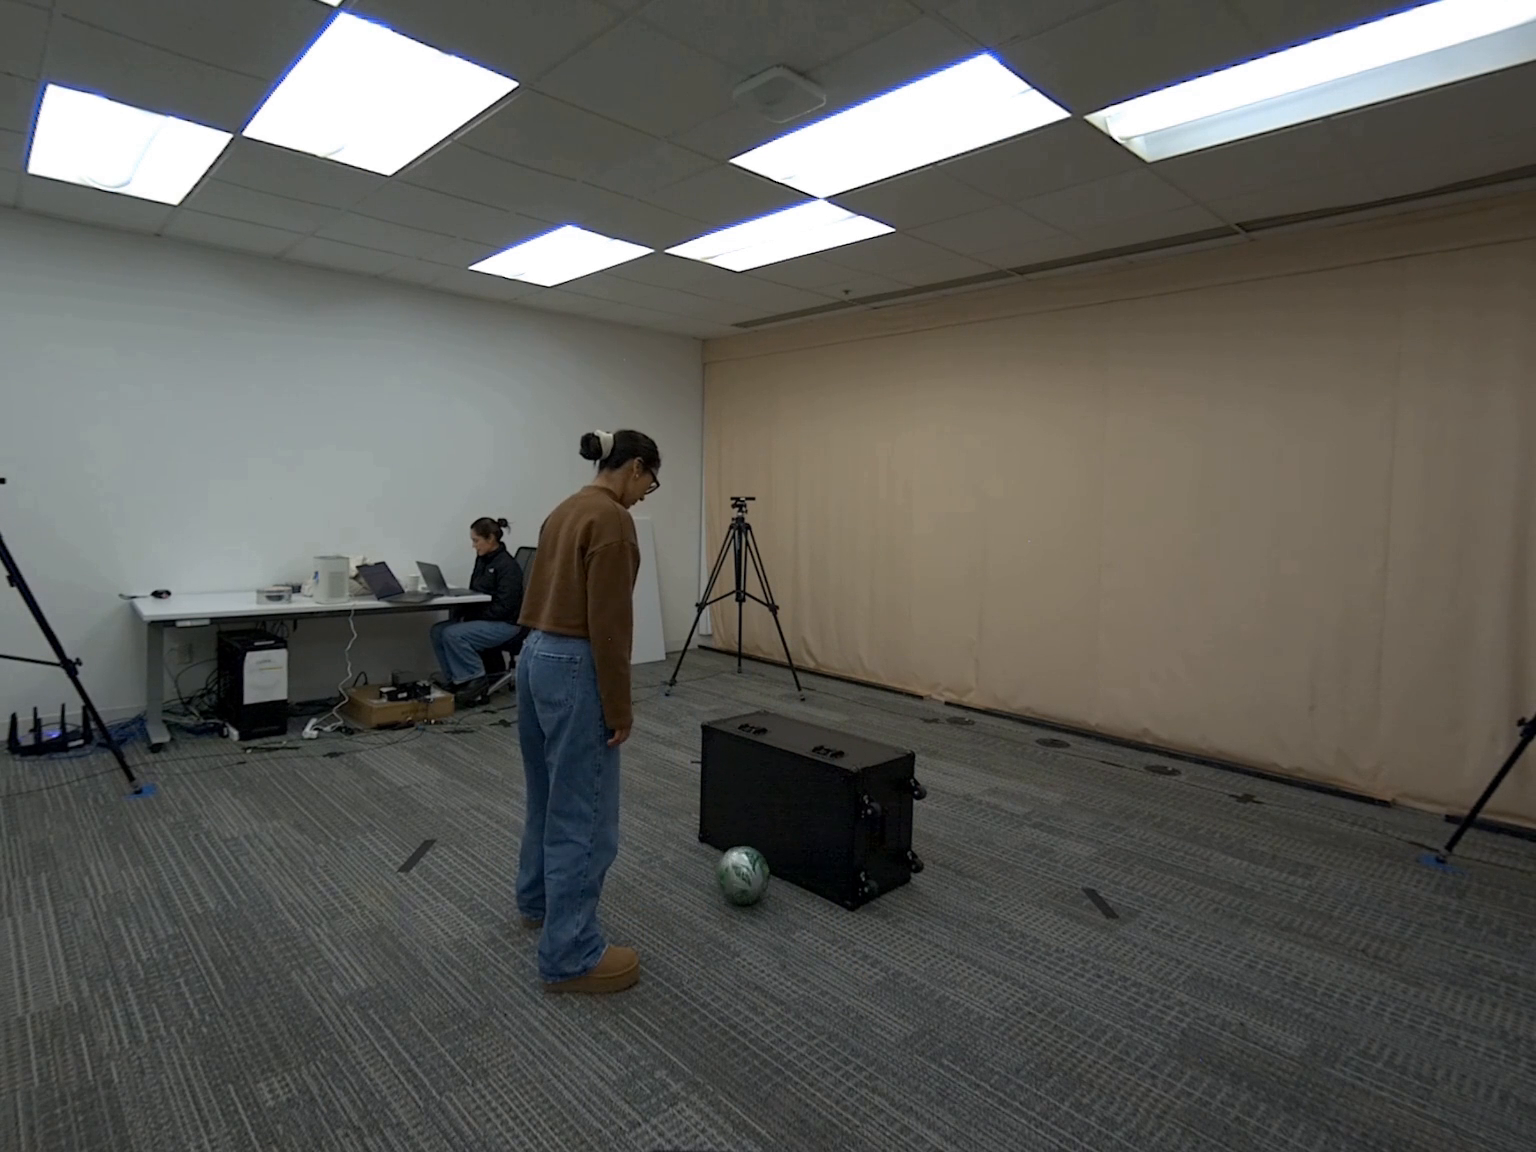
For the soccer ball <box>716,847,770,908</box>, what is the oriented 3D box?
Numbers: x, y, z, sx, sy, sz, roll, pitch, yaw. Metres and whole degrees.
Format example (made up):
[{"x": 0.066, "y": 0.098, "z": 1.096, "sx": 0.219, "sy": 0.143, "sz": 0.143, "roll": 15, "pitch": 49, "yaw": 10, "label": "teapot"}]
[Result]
[{"x": -0.095, "y": 1.024, "z": 2.909, "sx": 0.187, "sy": 0.187, "sz": 0.188, "roll": 1, "pitch": 4, "yaw": -1, "label": "soccer ball"}]
